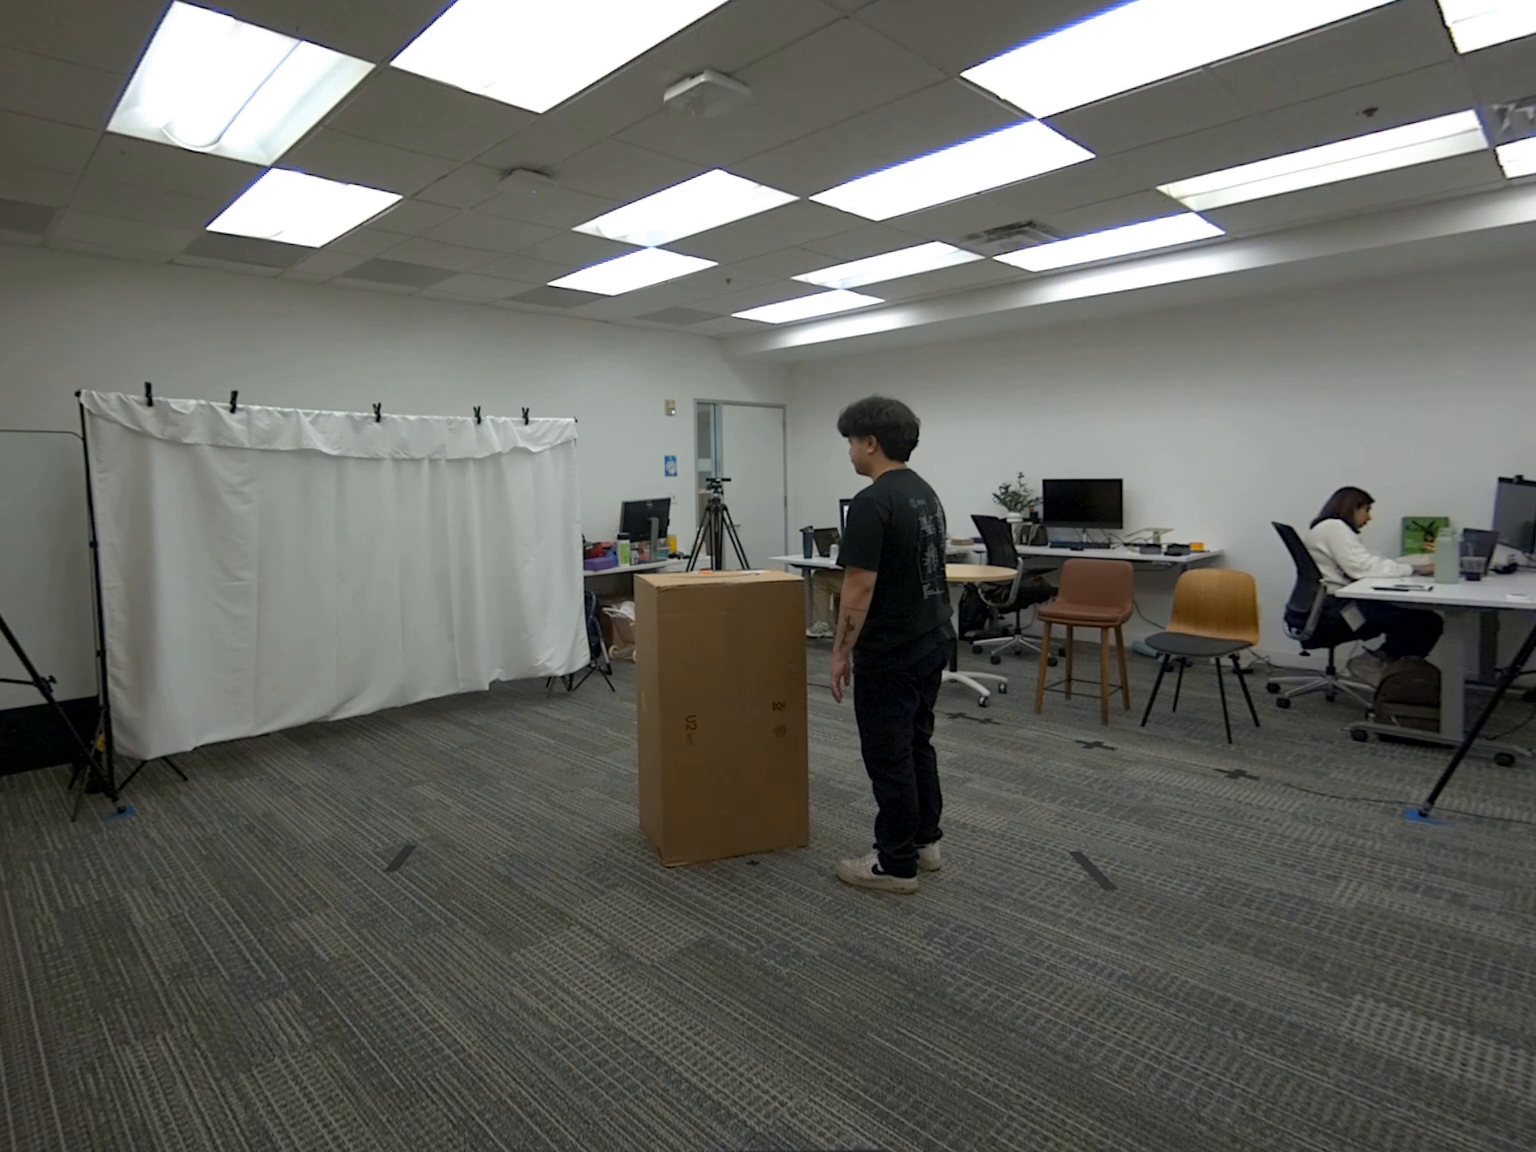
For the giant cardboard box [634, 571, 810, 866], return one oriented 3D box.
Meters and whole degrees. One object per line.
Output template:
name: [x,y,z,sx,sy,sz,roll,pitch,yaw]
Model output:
giant cardboard box: [-0.190,0.506,3.333,0.575,1.024,0.455,-2,3,-18]
